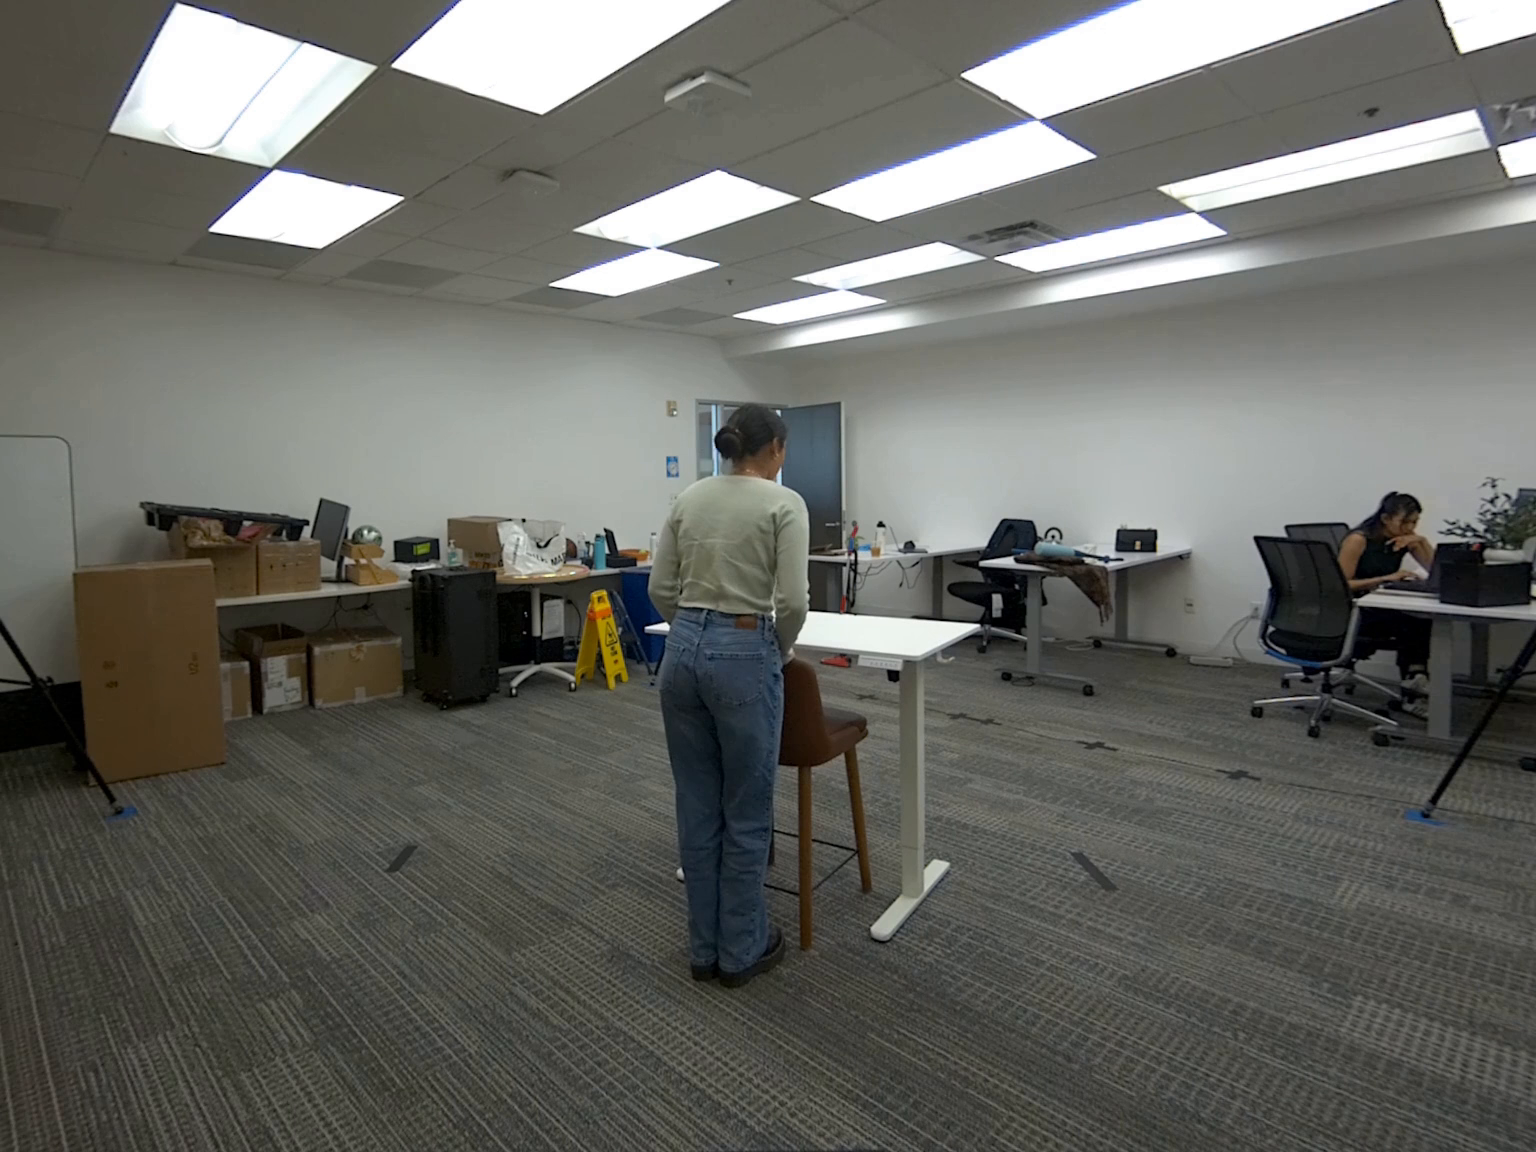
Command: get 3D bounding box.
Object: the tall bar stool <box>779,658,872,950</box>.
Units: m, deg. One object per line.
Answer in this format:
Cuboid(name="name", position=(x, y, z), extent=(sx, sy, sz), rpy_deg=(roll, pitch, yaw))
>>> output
Cuboid(name="tall bar stool", position=(0.061, 0.645, 2.773), extent=(0.469, 0.885, 0.458), rpy_deg=(2, 7, 31))
